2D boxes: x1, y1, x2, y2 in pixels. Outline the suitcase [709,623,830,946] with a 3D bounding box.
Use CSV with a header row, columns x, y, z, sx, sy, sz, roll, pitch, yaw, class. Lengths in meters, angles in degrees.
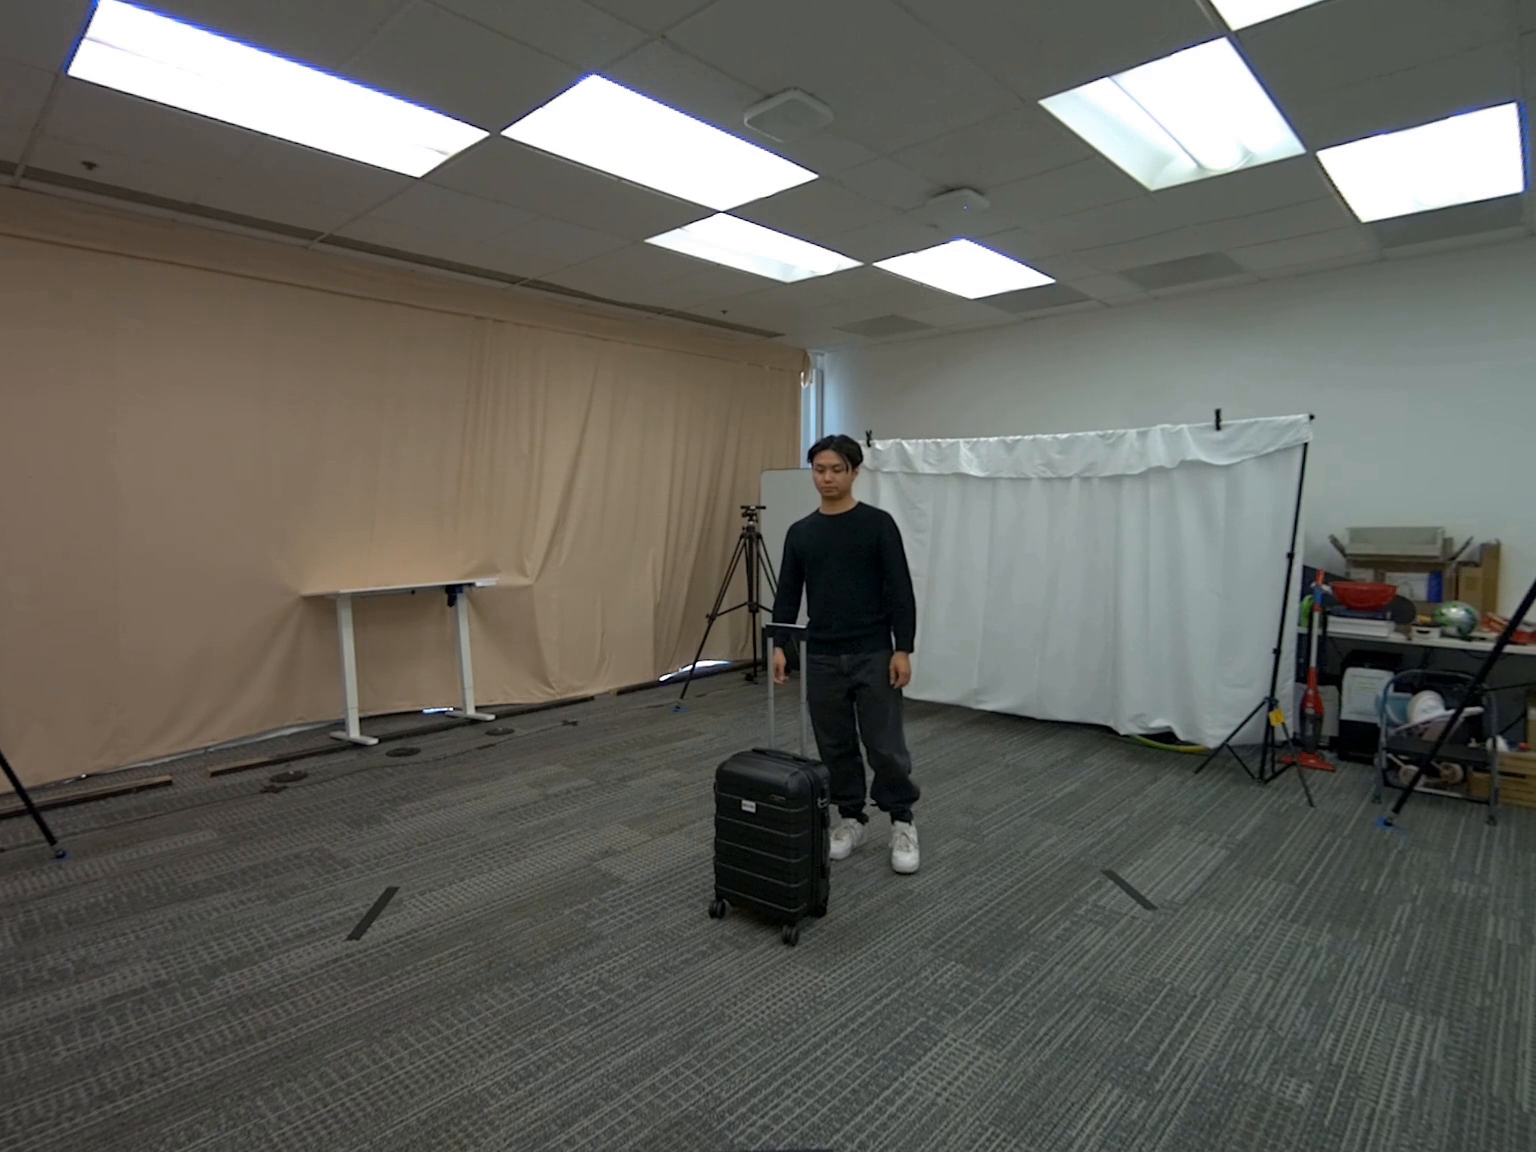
x,y,z,sx,sy,sz,roll,pitch,yaw,class
0.011,0.677,2.834,0.396,0.976,0.250,2,4,34,suitcase
